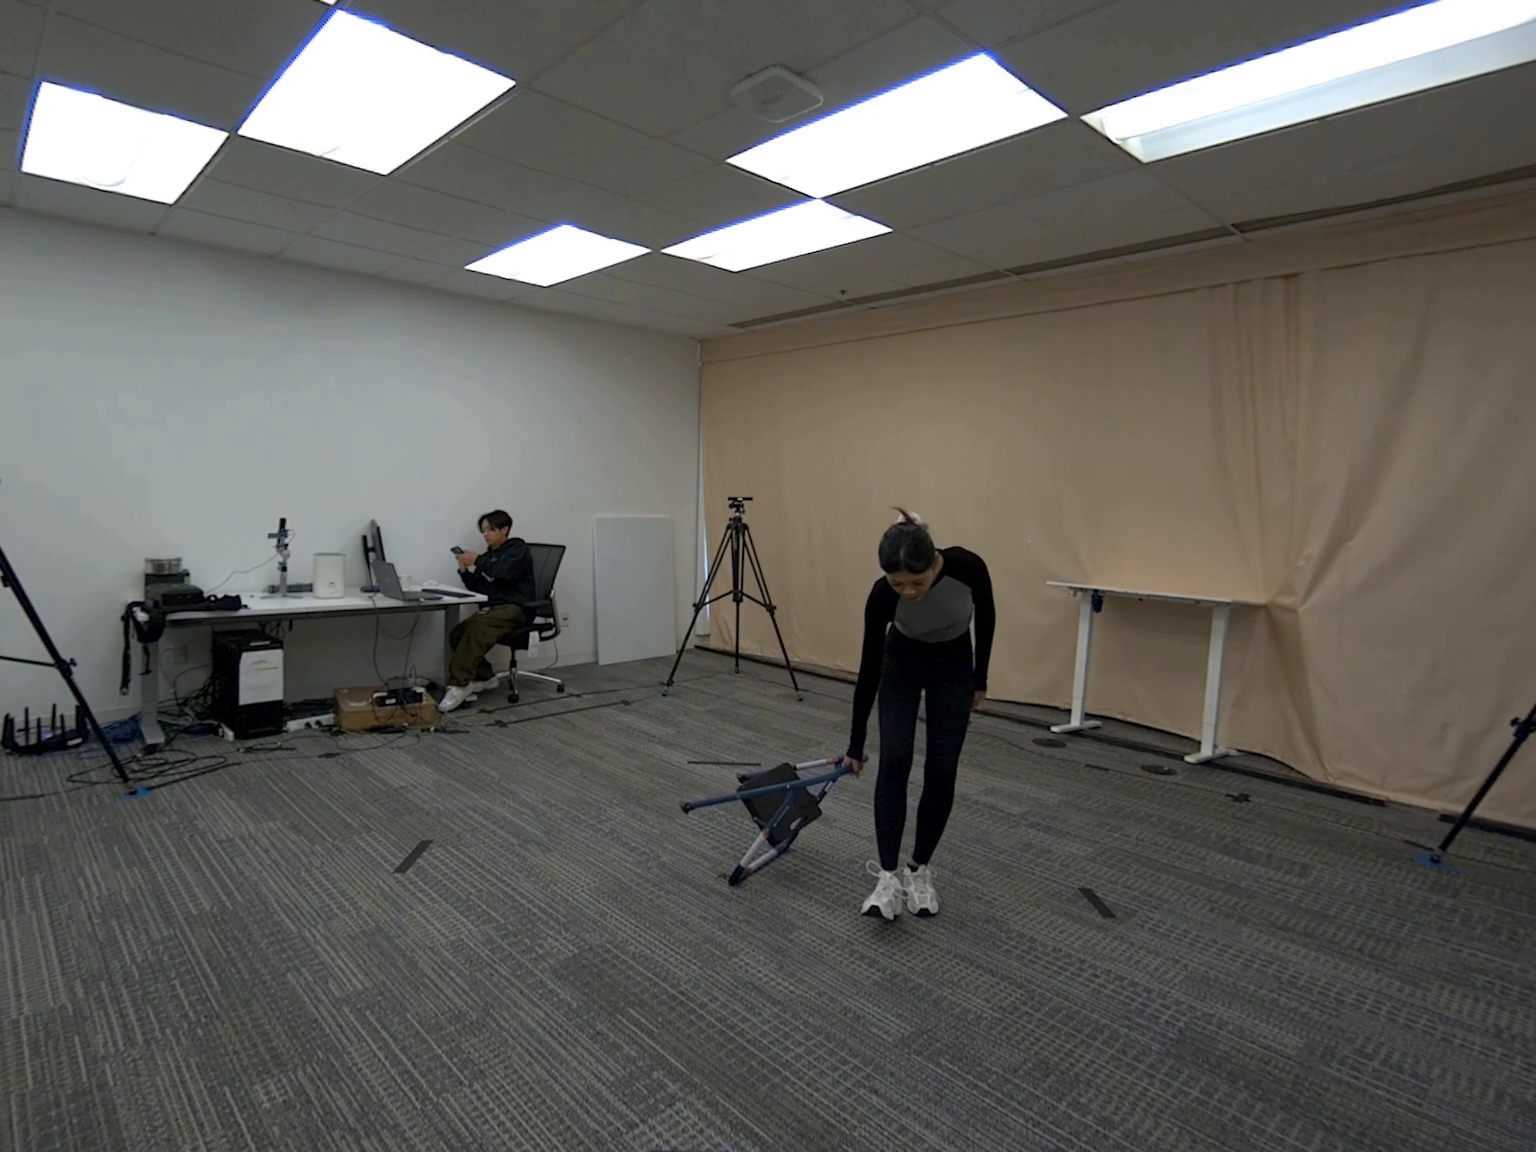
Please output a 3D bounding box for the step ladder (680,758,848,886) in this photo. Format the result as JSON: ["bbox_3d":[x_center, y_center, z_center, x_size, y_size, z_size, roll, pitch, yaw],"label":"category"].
[{"bbox_3d":[0.064,0.790,3.118,0.607,0.356,0.422,-43,-19,26],"label":"step ladder"}]
